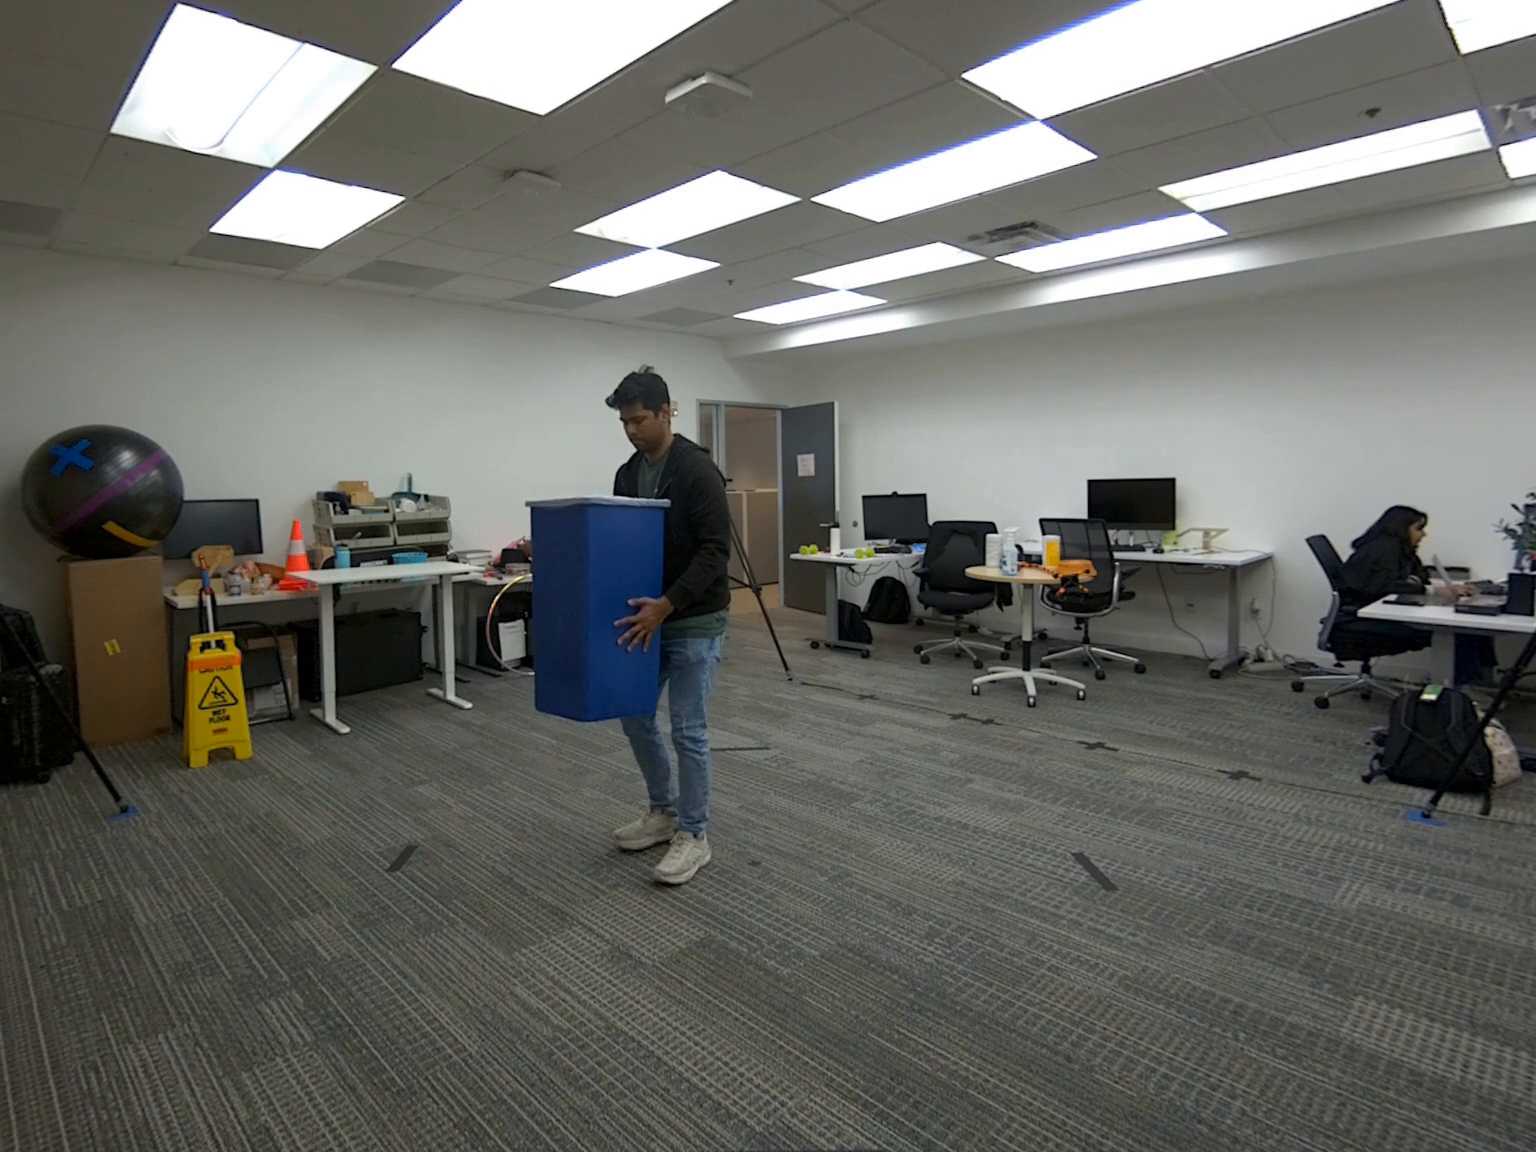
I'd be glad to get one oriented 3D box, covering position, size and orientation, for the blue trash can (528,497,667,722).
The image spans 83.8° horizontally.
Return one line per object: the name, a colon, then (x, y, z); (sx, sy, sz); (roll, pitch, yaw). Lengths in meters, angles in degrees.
blue trash can: (-0.585, 0.111, 2.890); (0.389, 0.714, 0.363); (-1, -1, 43)
